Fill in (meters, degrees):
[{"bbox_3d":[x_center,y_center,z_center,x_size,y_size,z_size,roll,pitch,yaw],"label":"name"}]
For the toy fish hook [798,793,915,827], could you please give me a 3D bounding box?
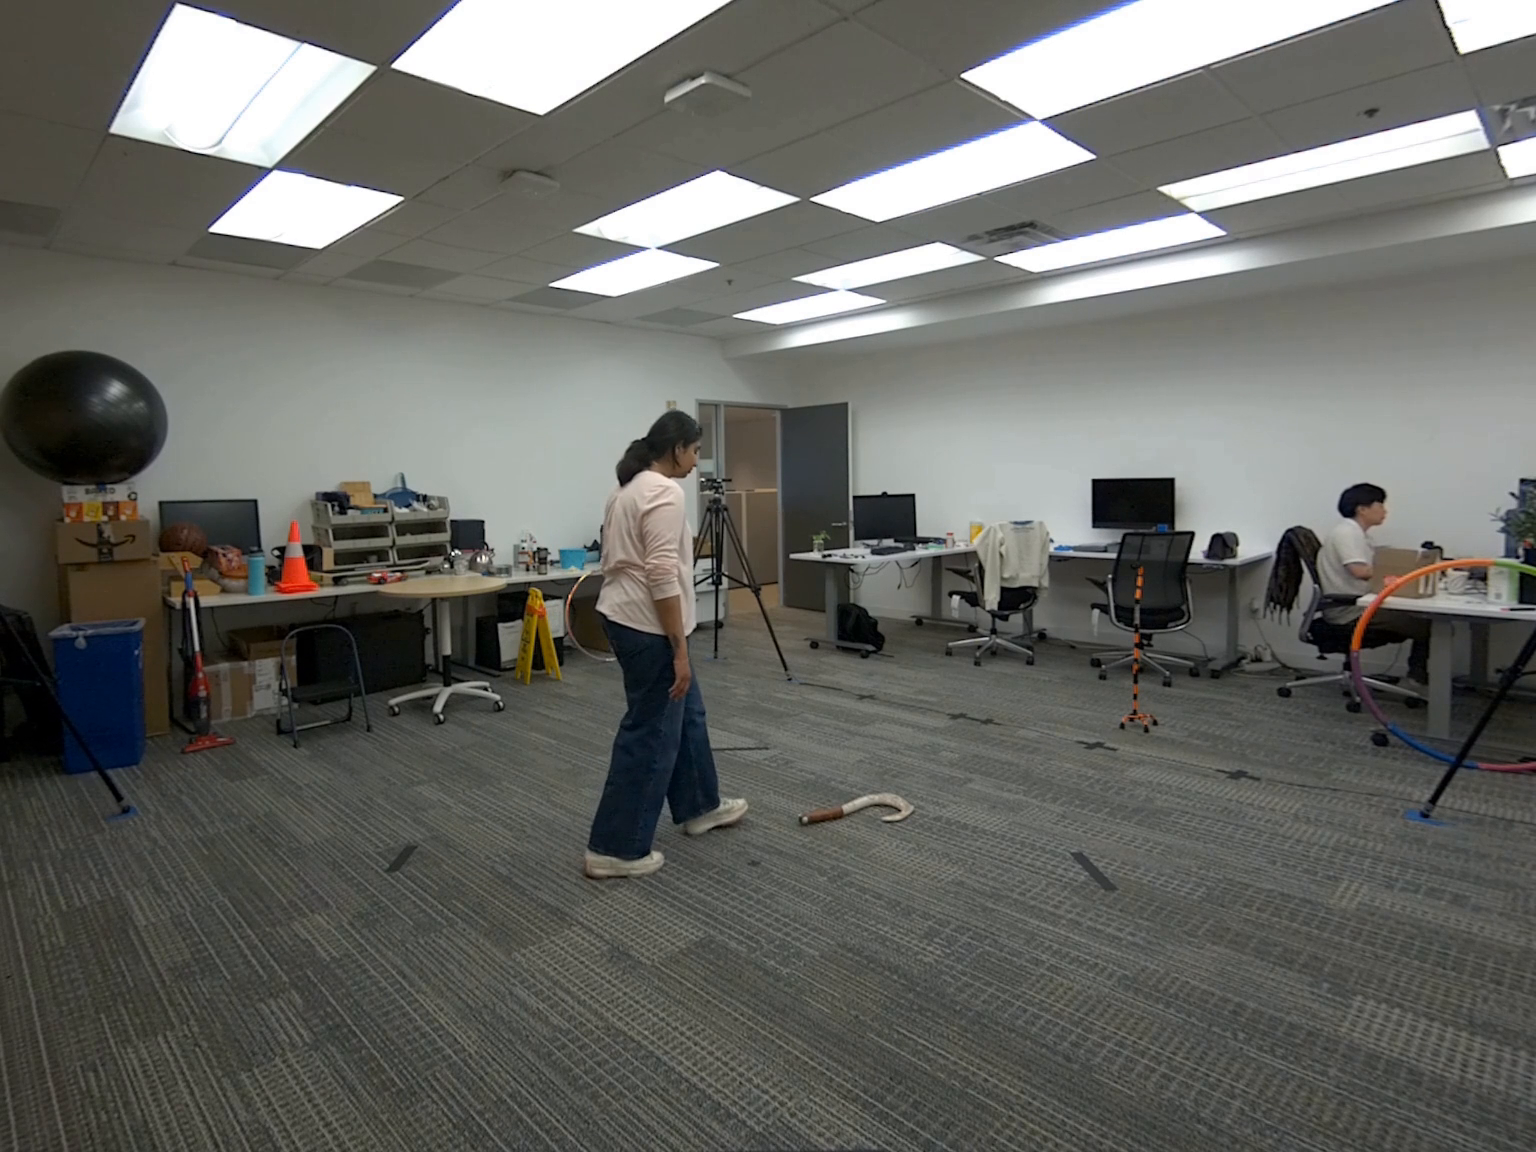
[{"bbox_3d":[0.367,0.968,3.504,0.495,0.048,0.231,-5,8,-28],"label":"toy fish hook"}]
